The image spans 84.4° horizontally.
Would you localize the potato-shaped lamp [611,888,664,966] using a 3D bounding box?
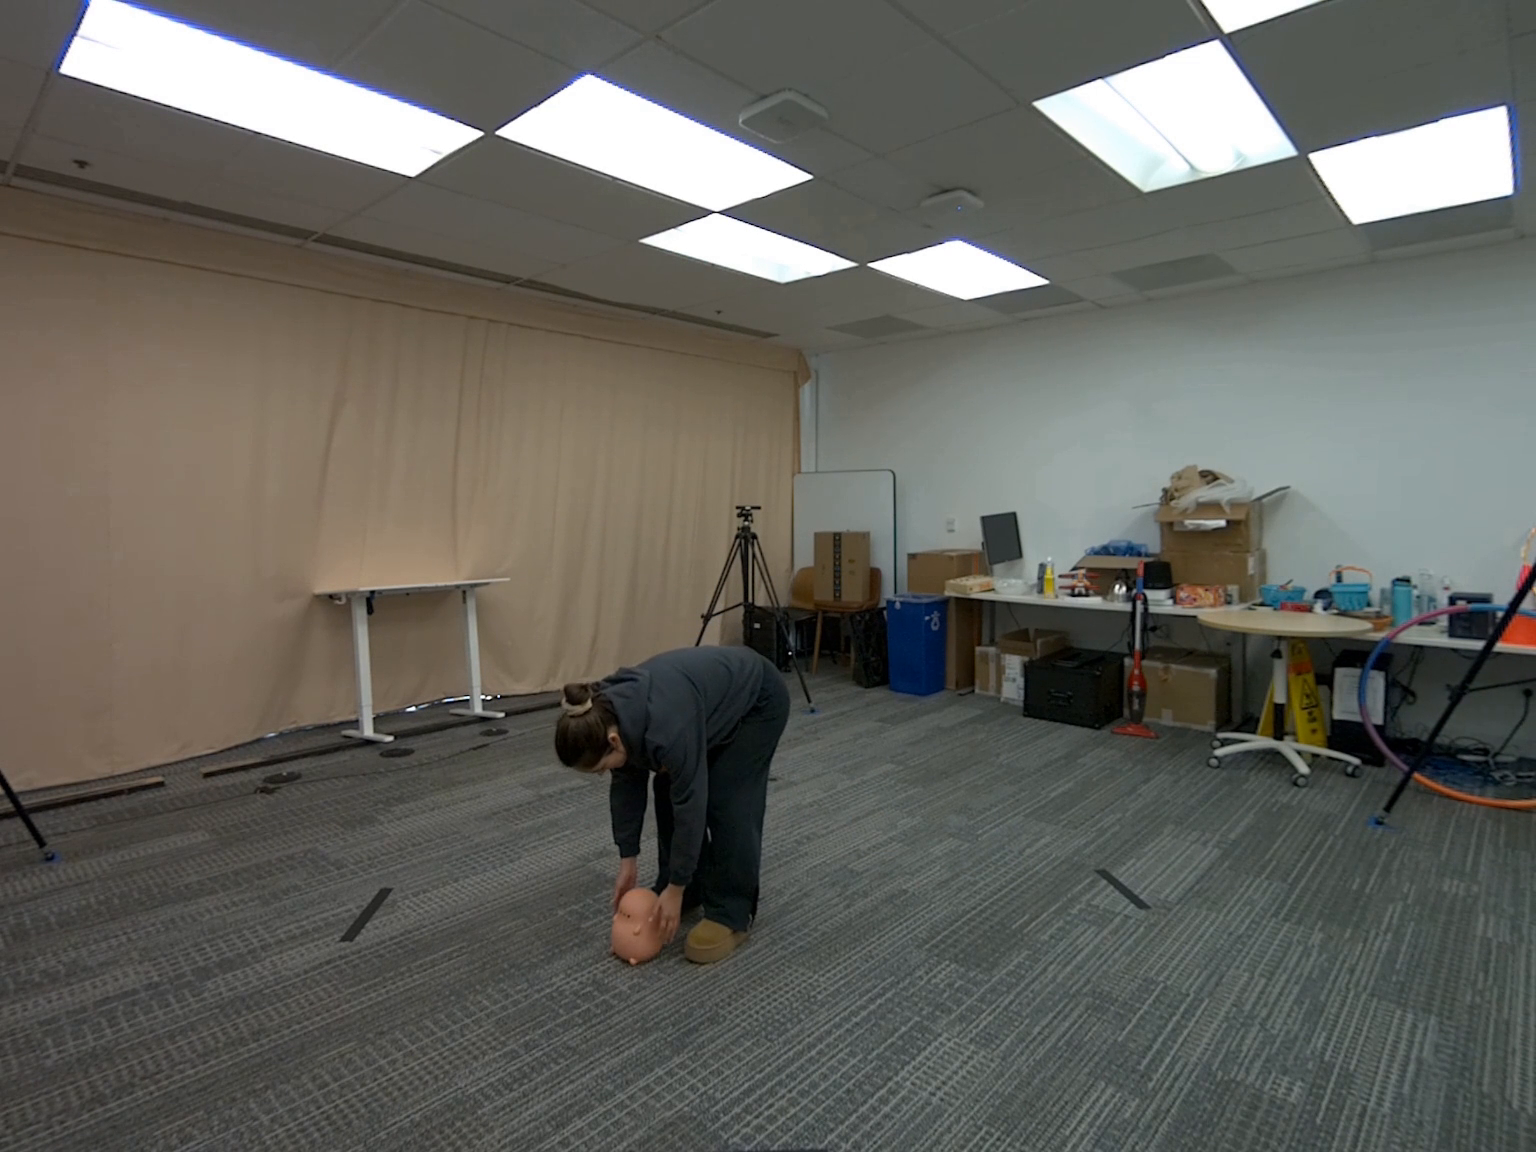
[{"bbox_3d":[-0.385,1.076,2.631,0.166,0.198,0.170,-4,4,-42],"label":"potato-shaped lamp"}]
